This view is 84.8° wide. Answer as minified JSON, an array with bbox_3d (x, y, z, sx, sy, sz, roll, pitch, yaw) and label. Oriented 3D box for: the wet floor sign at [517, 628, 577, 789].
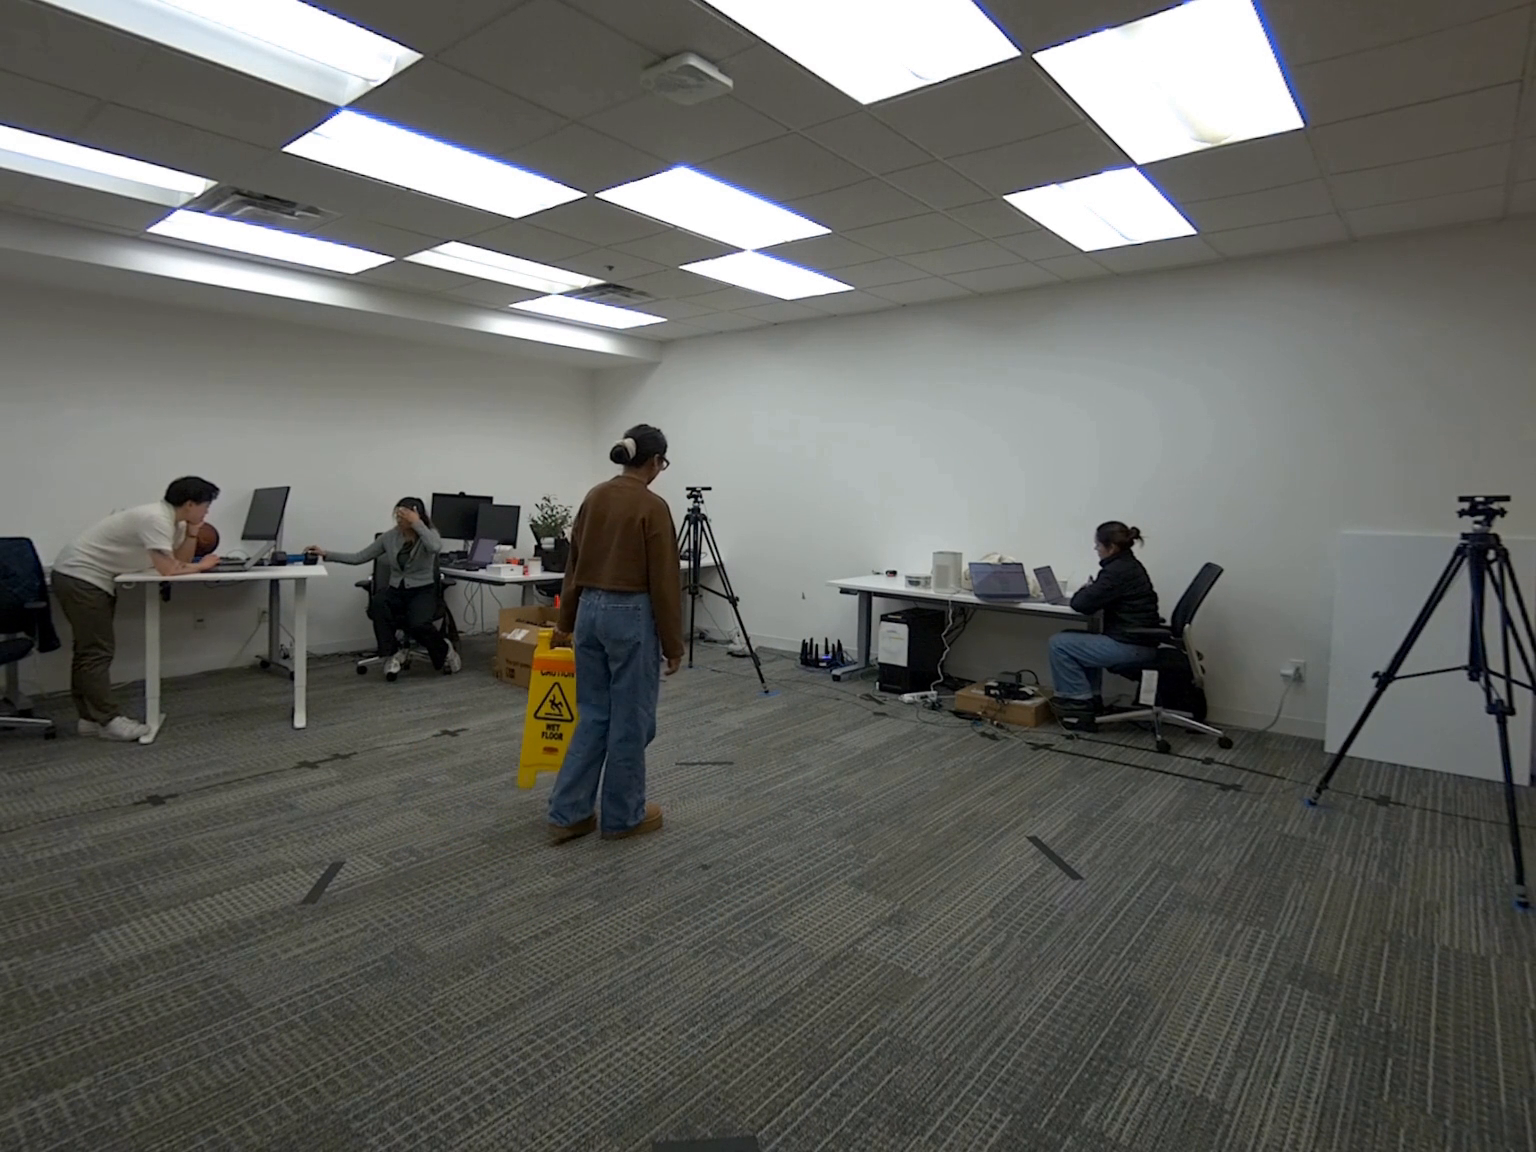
[{"bbox_3d":[-0.911,0.553,3.637,0.285,0.643,0.288,1,5,9],"label":"wet floor sign"}]
